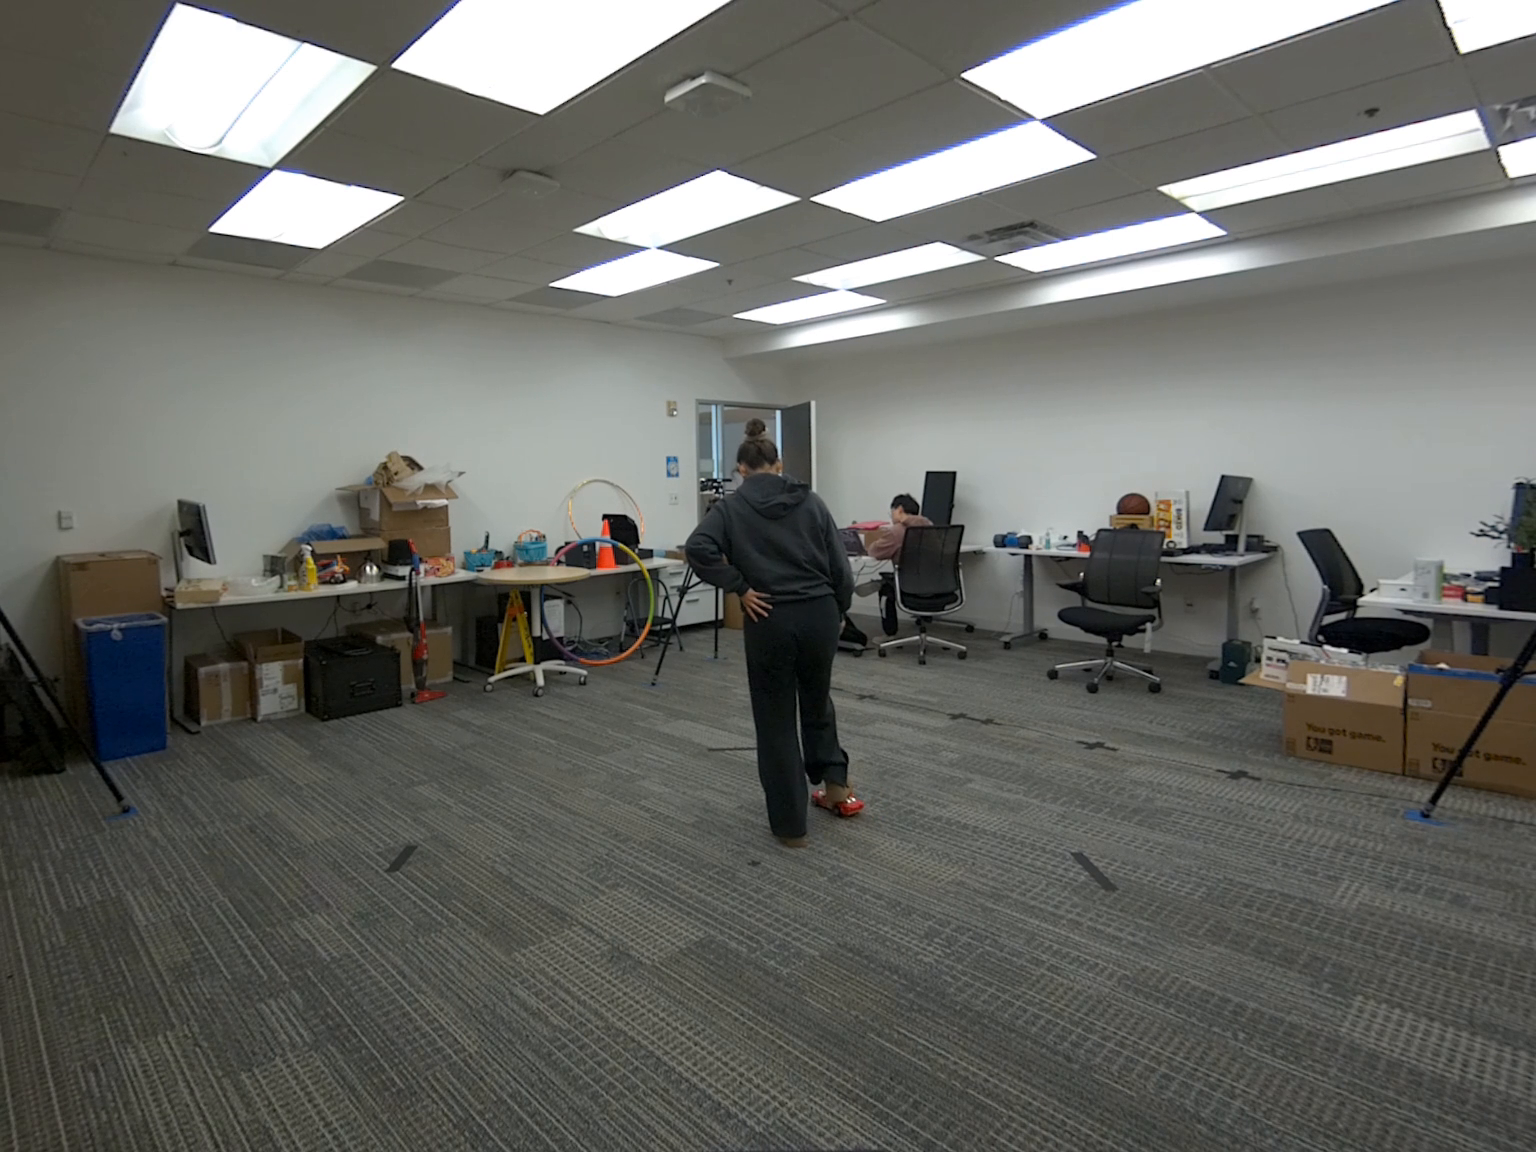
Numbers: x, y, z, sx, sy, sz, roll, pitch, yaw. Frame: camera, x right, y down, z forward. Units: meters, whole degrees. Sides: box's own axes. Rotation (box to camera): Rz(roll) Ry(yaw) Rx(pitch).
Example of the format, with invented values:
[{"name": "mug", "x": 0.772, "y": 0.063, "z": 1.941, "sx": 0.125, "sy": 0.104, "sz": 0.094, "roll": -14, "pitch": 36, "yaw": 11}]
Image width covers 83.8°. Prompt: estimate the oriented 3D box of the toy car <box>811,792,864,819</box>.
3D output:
[{"name": "toy car", "x": 0.299, "y": 0.957, "z": 3.581, "sx": 0.127, "sy": 0.083, "sz": 0.260, "roll": -5, "pitch": -3, "yaw": -35}]
